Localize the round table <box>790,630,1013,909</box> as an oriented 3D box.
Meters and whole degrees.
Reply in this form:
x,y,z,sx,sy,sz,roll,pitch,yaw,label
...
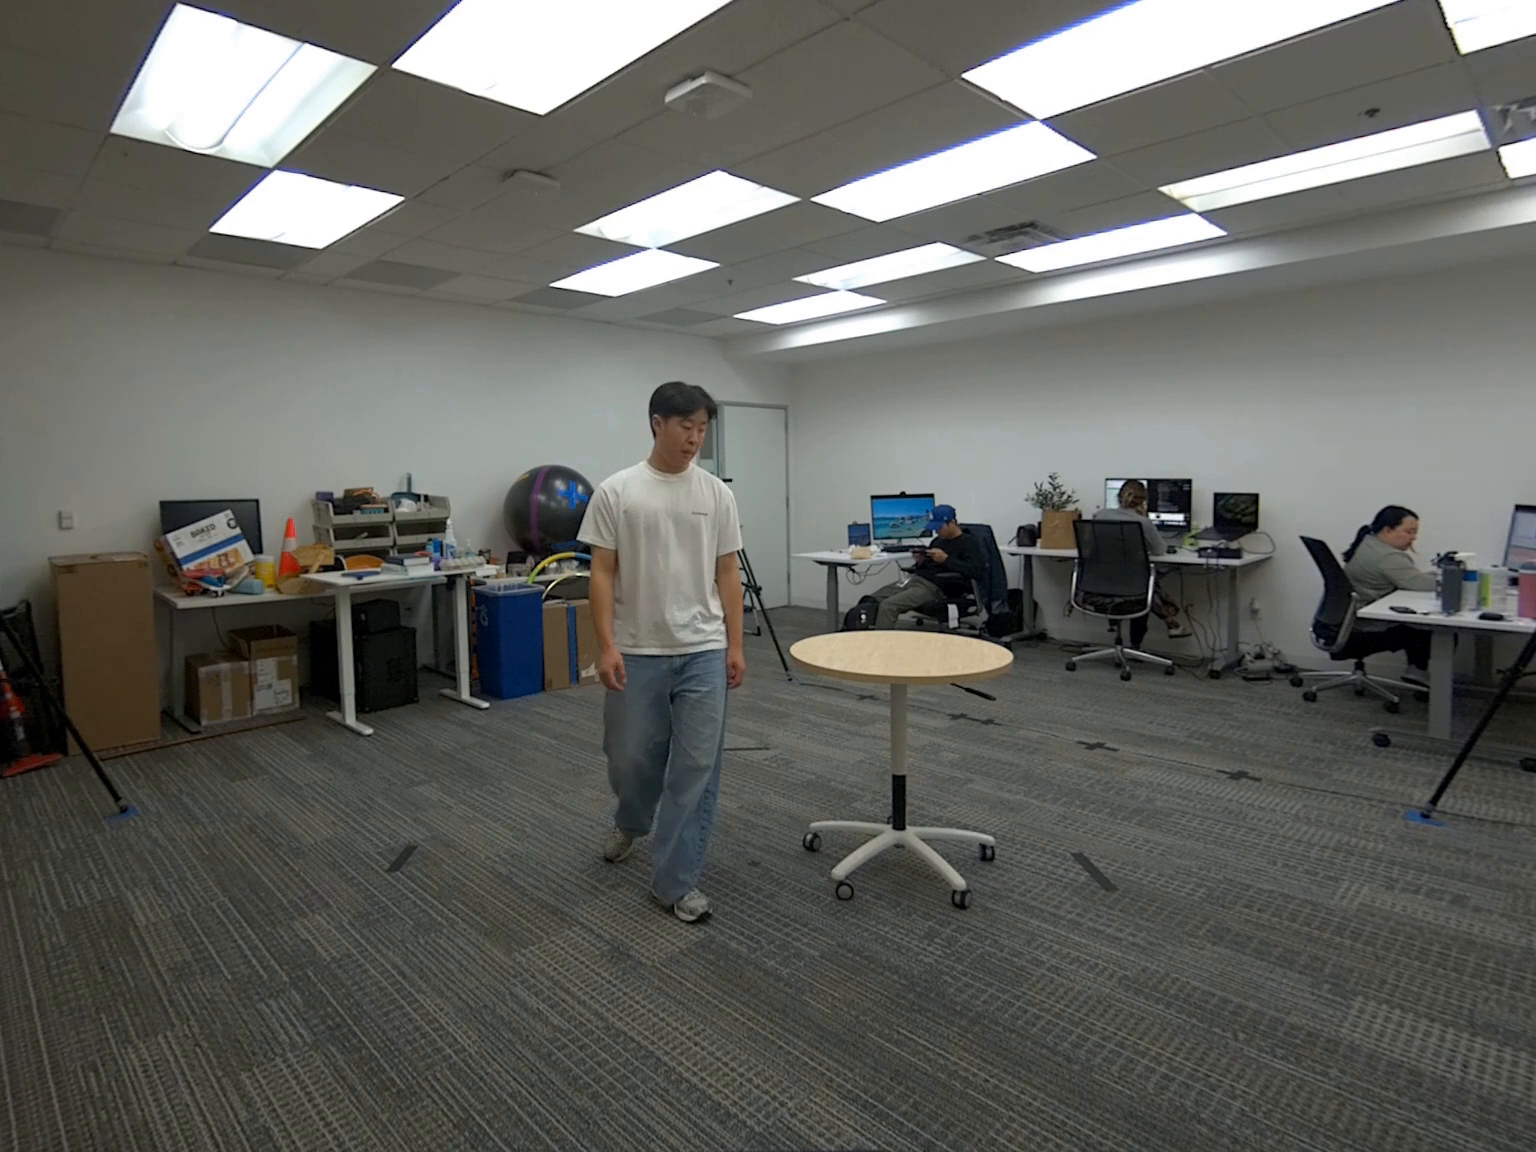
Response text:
x,y,z,sx,sy,sz,roll,pitch,yaw,label
0.469,0.652,3.026,0.784,0.783,0.789,-1,5,-2,round table
